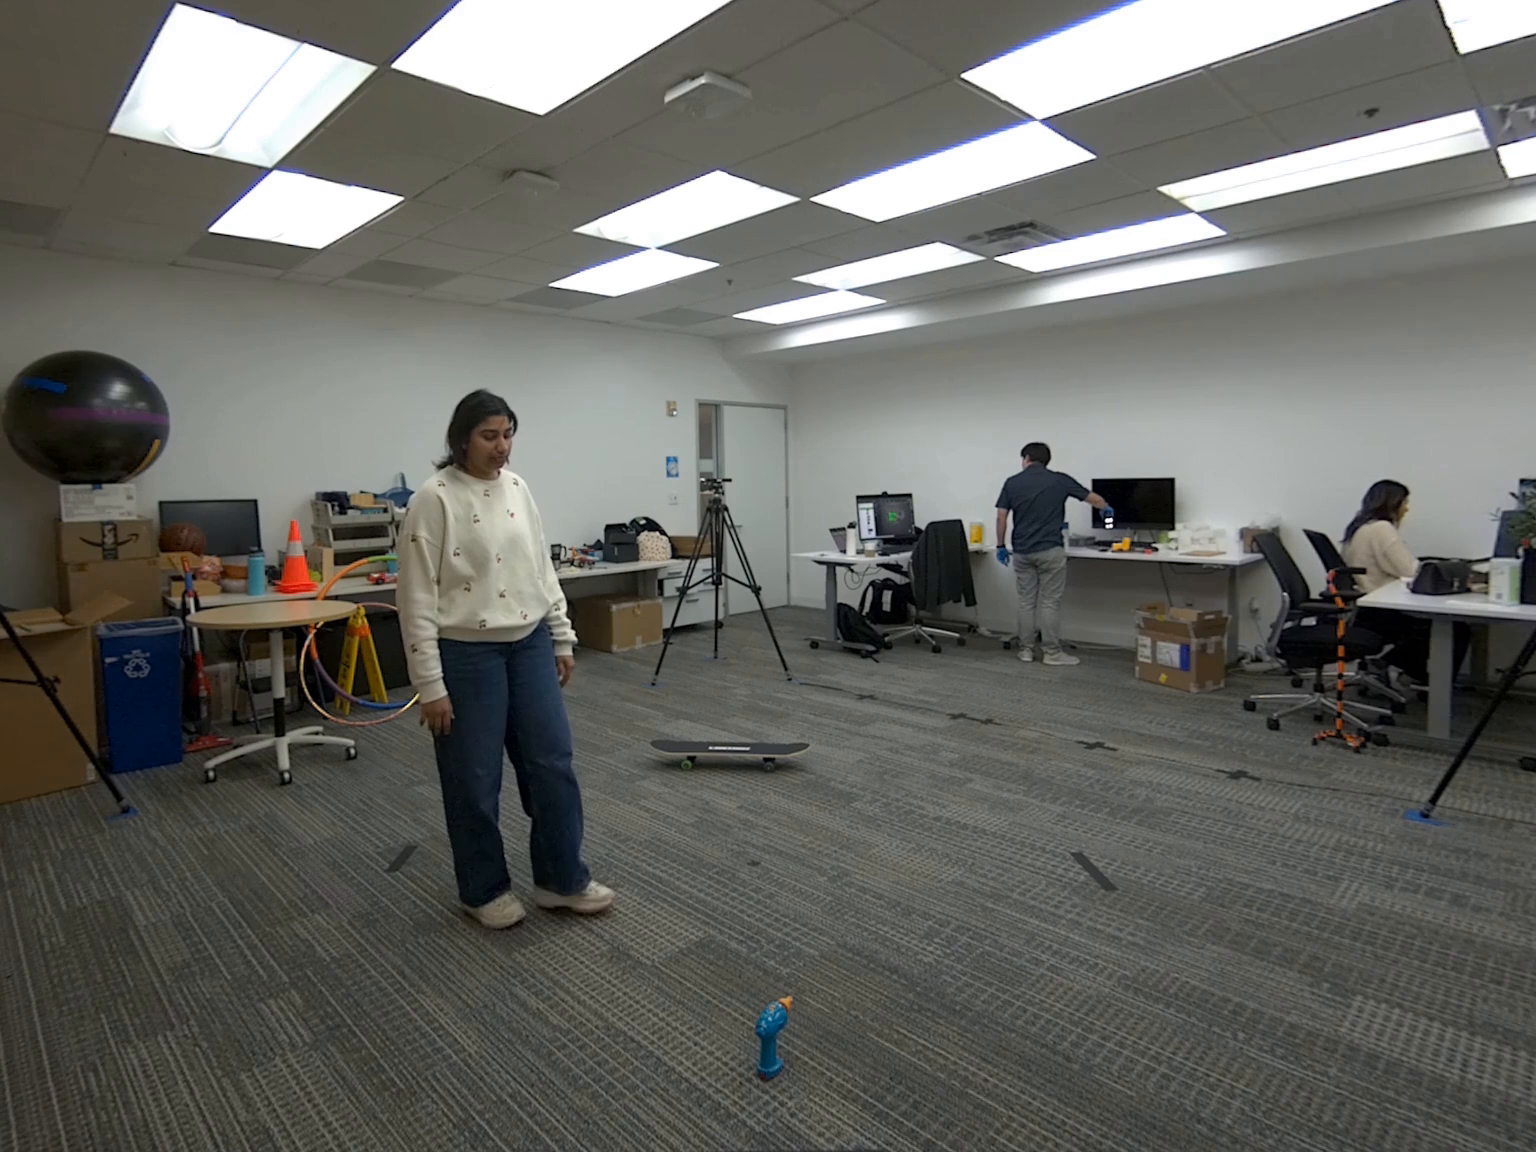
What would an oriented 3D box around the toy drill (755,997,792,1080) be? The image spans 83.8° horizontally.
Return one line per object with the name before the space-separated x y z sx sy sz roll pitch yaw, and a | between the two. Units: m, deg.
toy drill | 0.024 1.092 2.051 0.062 0.145 0.167 -1 5 20
